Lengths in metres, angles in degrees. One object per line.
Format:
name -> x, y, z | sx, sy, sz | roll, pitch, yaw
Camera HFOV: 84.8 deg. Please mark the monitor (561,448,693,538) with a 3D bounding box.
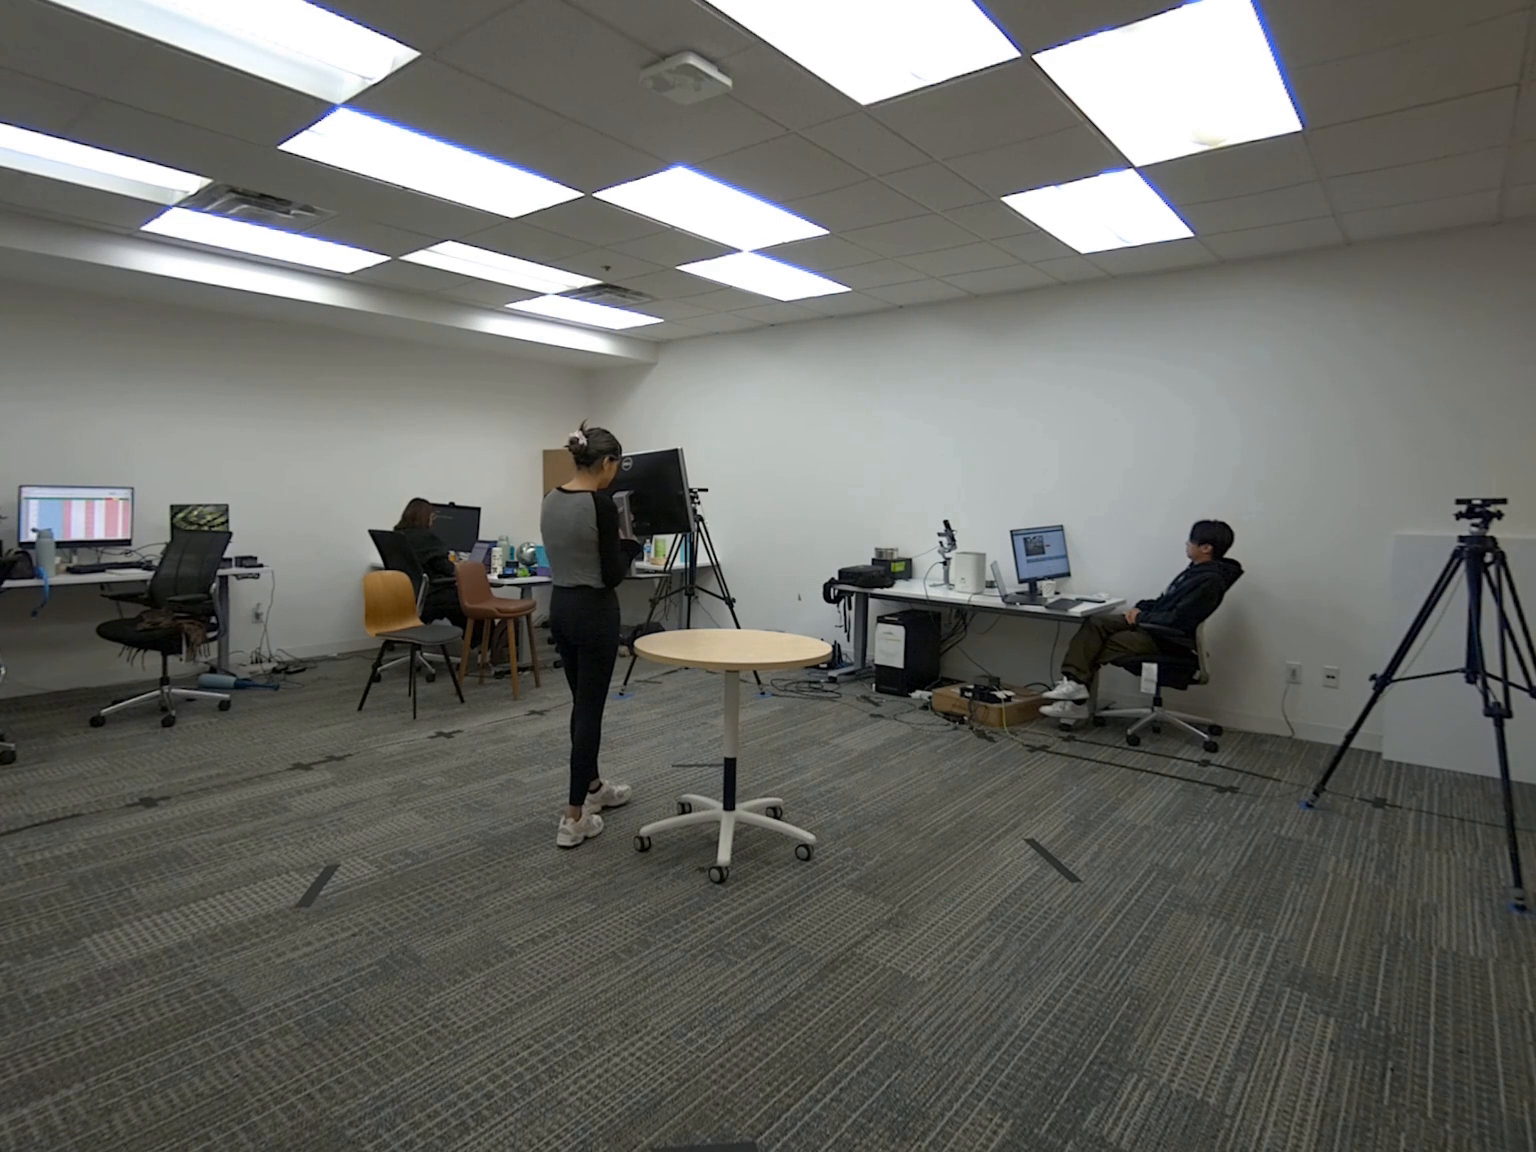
monitor -> -0.597, -0.270, 3.677 | 0.555, 0.522, 0.182 | -1, 1, 34
